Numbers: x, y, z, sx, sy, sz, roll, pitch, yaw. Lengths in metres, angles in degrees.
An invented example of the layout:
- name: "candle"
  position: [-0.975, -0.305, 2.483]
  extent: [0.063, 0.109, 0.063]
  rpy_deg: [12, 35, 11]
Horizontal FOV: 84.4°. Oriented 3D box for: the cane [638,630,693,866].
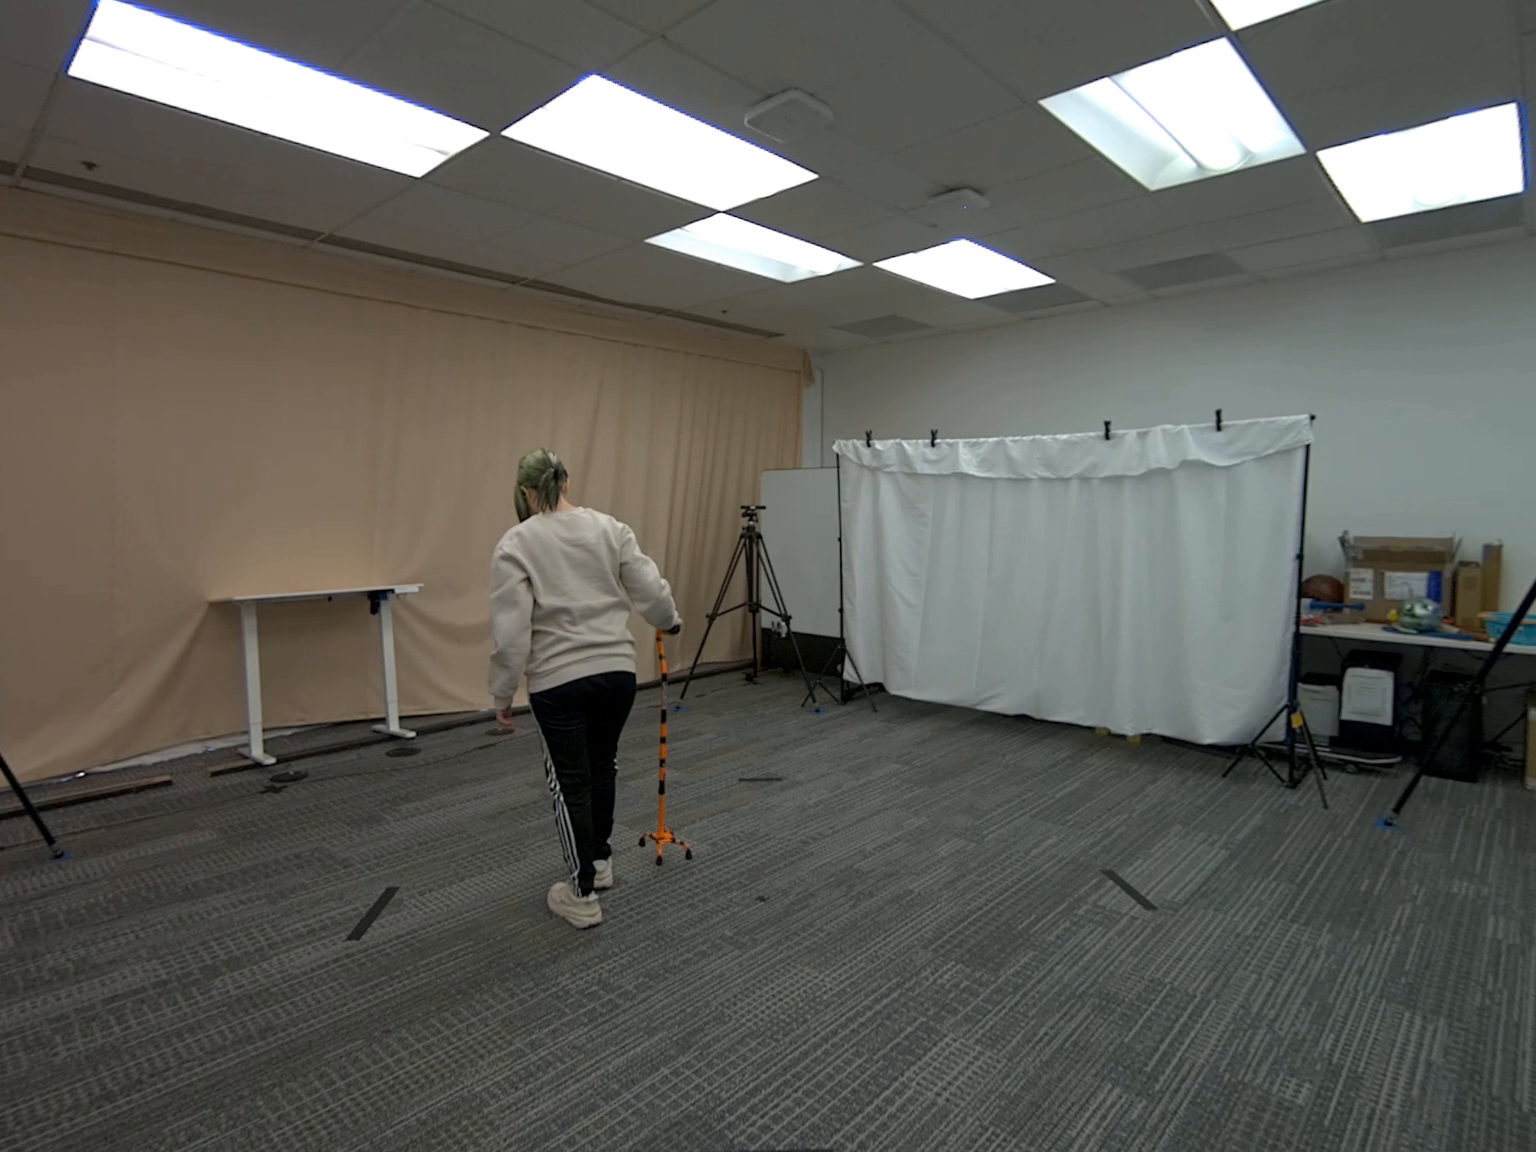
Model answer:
- name: "cane"
  position: [-0.383, 0.626, 3.237]
  extent: [0.147, 0.905, 0.213]
  rpy_deg: [-1, 6, -30]
